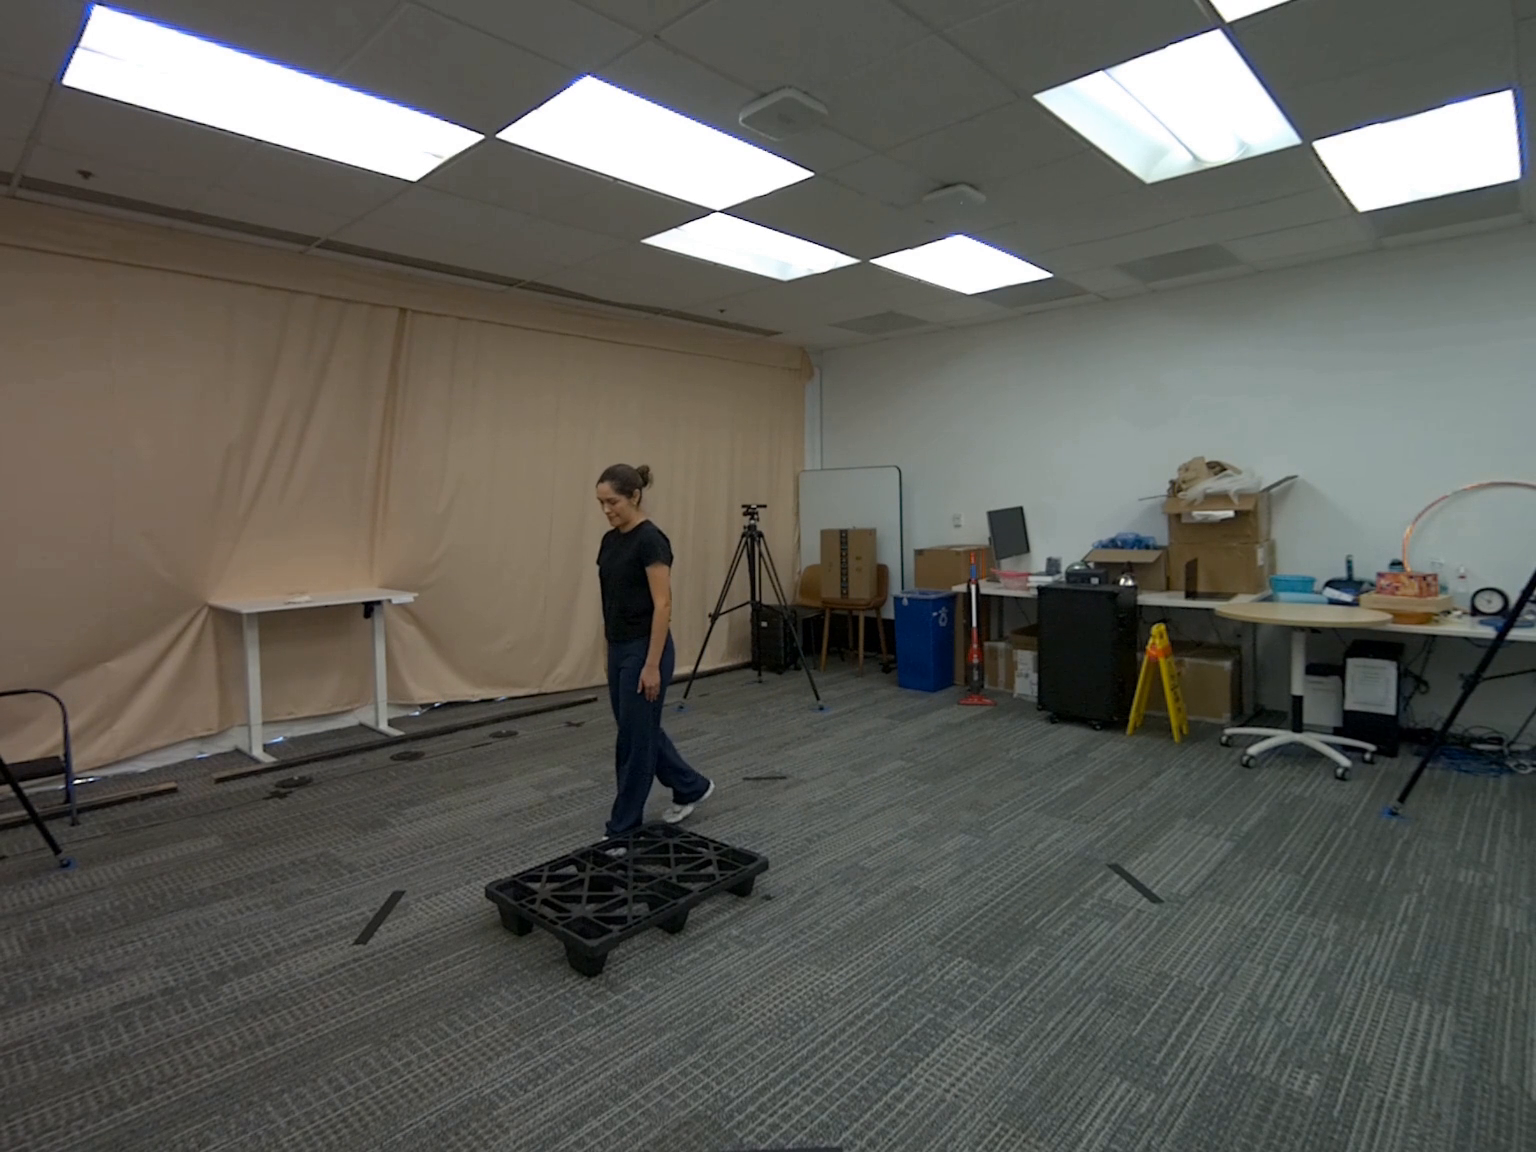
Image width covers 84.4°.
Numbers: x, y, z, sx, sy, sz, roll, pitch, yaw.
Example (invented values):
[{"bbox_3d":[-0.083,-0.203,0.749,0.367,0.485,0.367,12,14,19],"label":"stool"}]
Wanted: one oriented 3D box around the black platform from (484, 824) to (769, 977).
[{"bbox_3d":[-0.452,1.090,2.911,0.625,0.143,0.782,4,8,42],"label":"black platform"}]
